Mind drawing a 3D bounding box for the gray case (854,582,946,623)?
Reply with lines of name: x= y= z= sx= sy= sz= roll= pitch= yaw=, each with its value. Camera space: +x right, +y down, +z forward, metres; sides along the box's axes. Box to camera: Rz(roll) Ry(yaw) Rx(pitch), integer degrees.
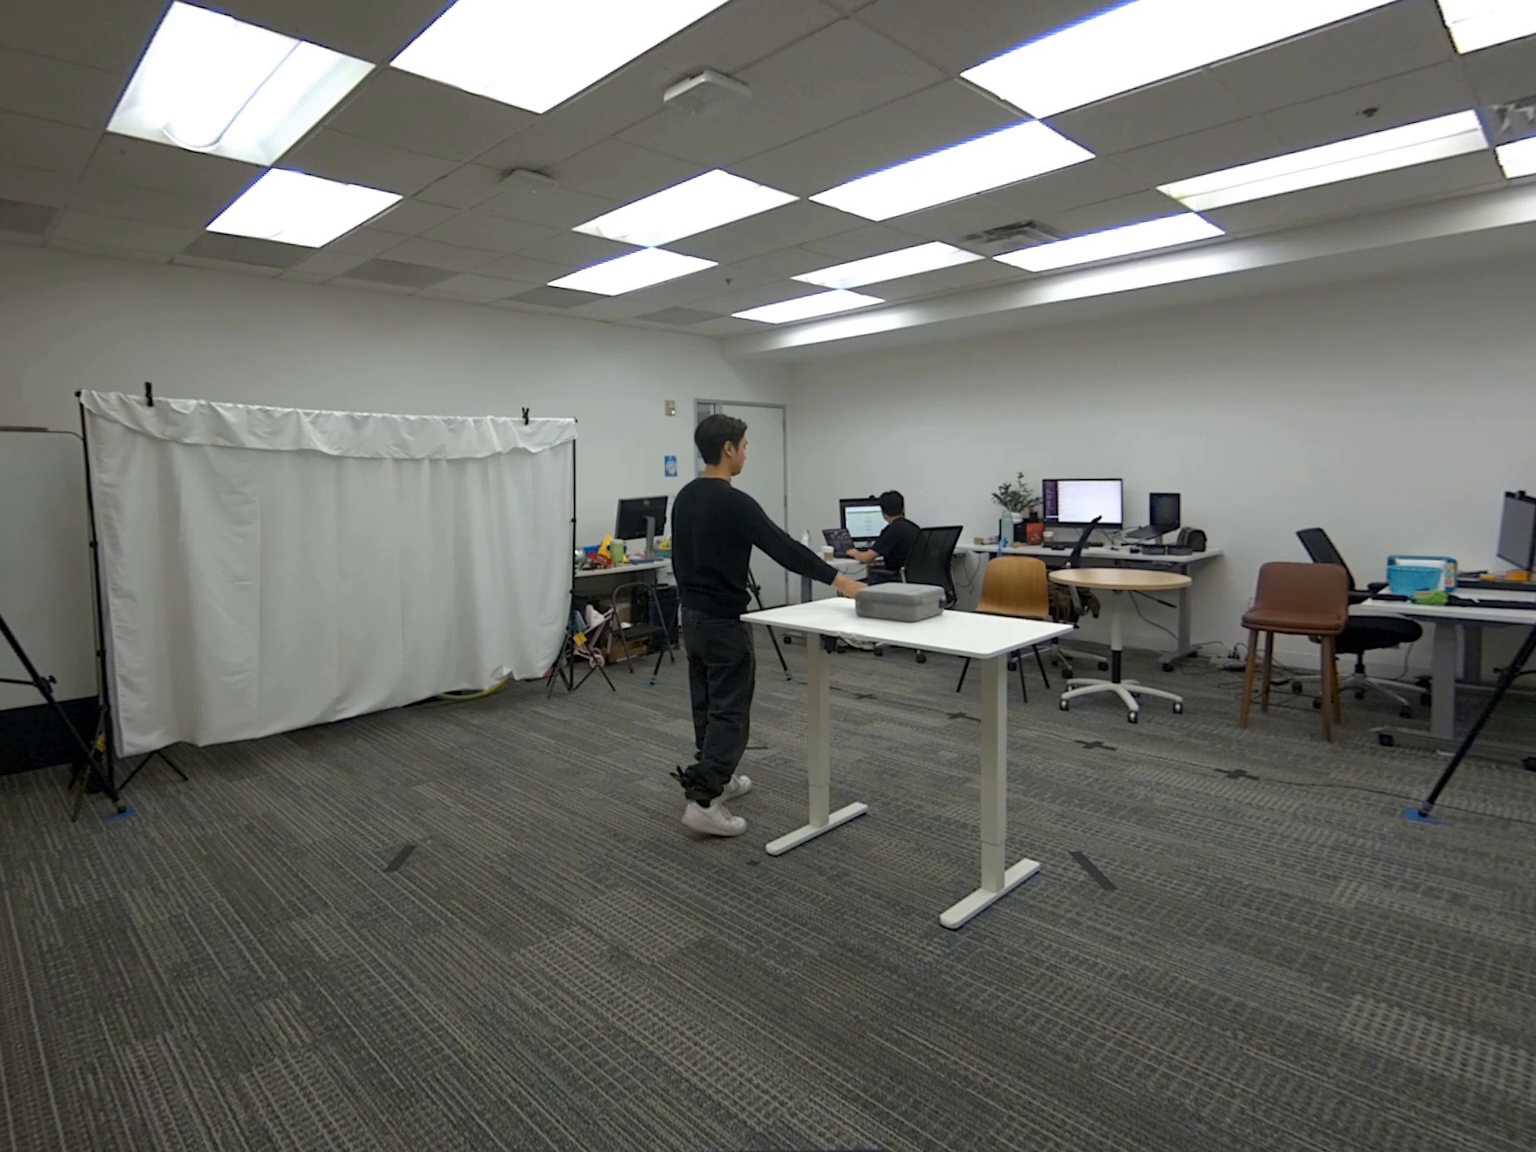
gray case: x=0.473 y=0.092 z=3.134 sx=0.268 sy=0.104 sz=0.250 roll=4 pitch=8 yaw=38
